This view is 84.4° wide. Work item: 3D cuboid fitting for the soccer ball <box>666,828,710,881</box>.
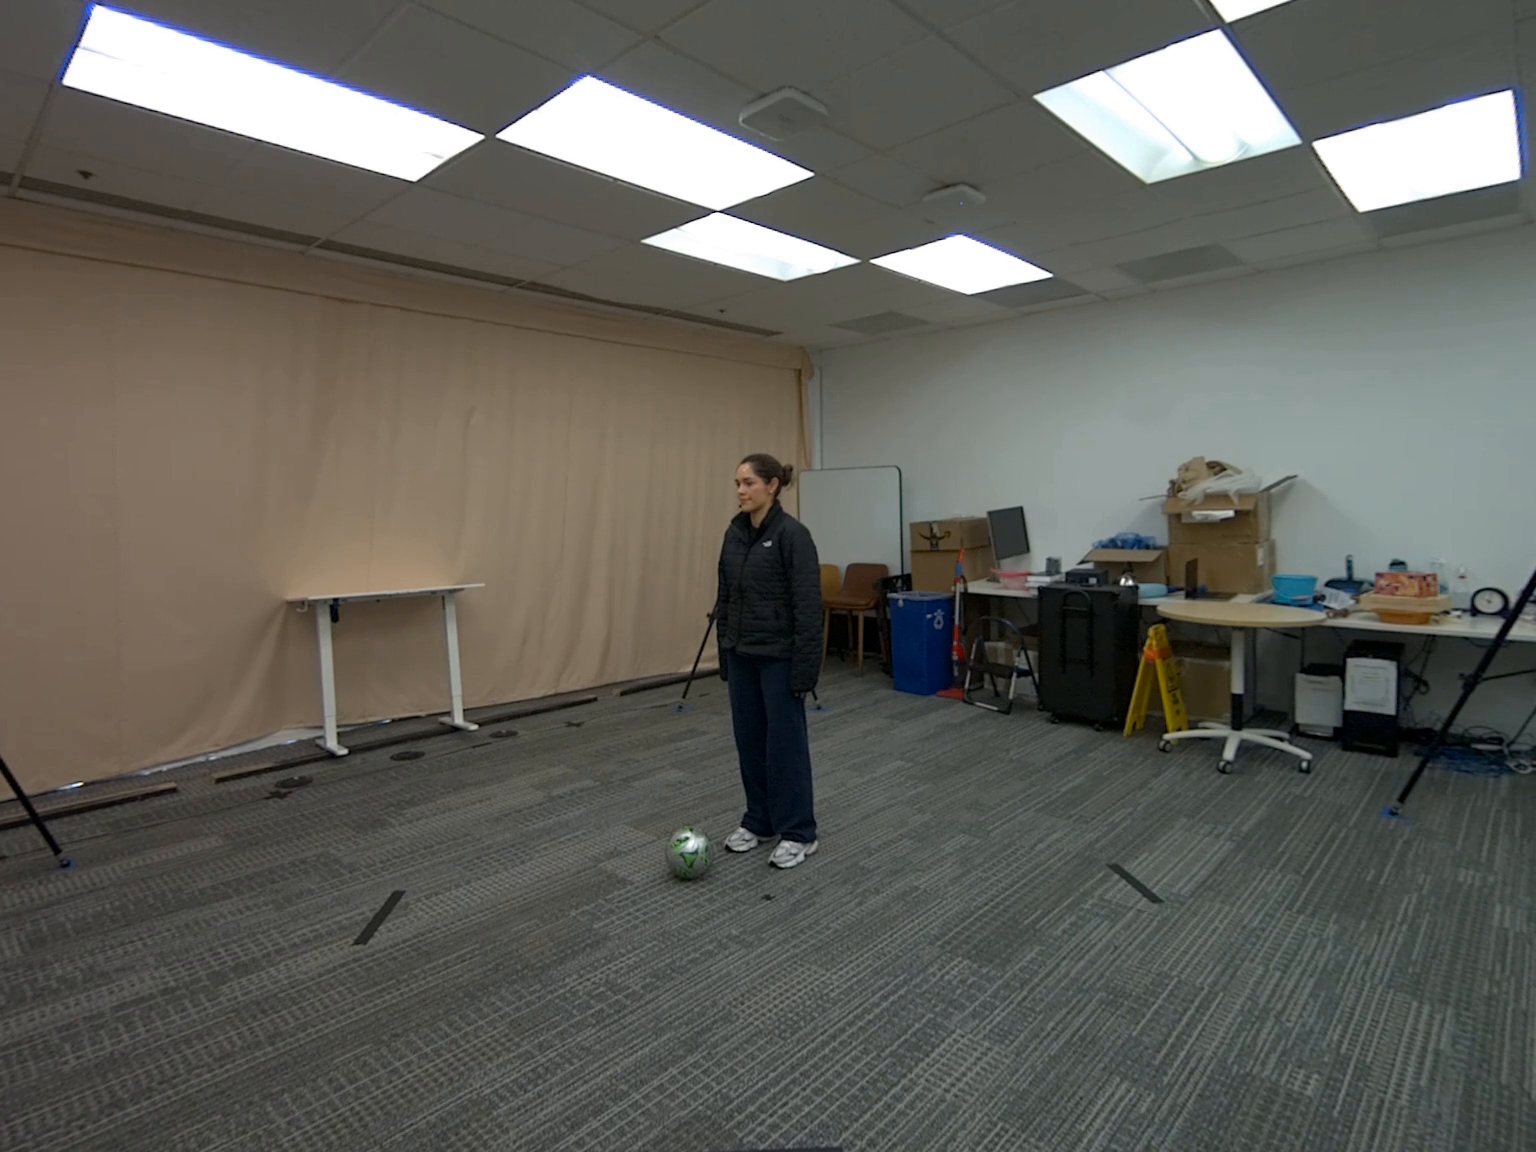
[{"bbox_3d":[-0.292,1.033,3.161,0.187,0.187,0.188,-1,4,-2],"label":"soccer ball"}]
